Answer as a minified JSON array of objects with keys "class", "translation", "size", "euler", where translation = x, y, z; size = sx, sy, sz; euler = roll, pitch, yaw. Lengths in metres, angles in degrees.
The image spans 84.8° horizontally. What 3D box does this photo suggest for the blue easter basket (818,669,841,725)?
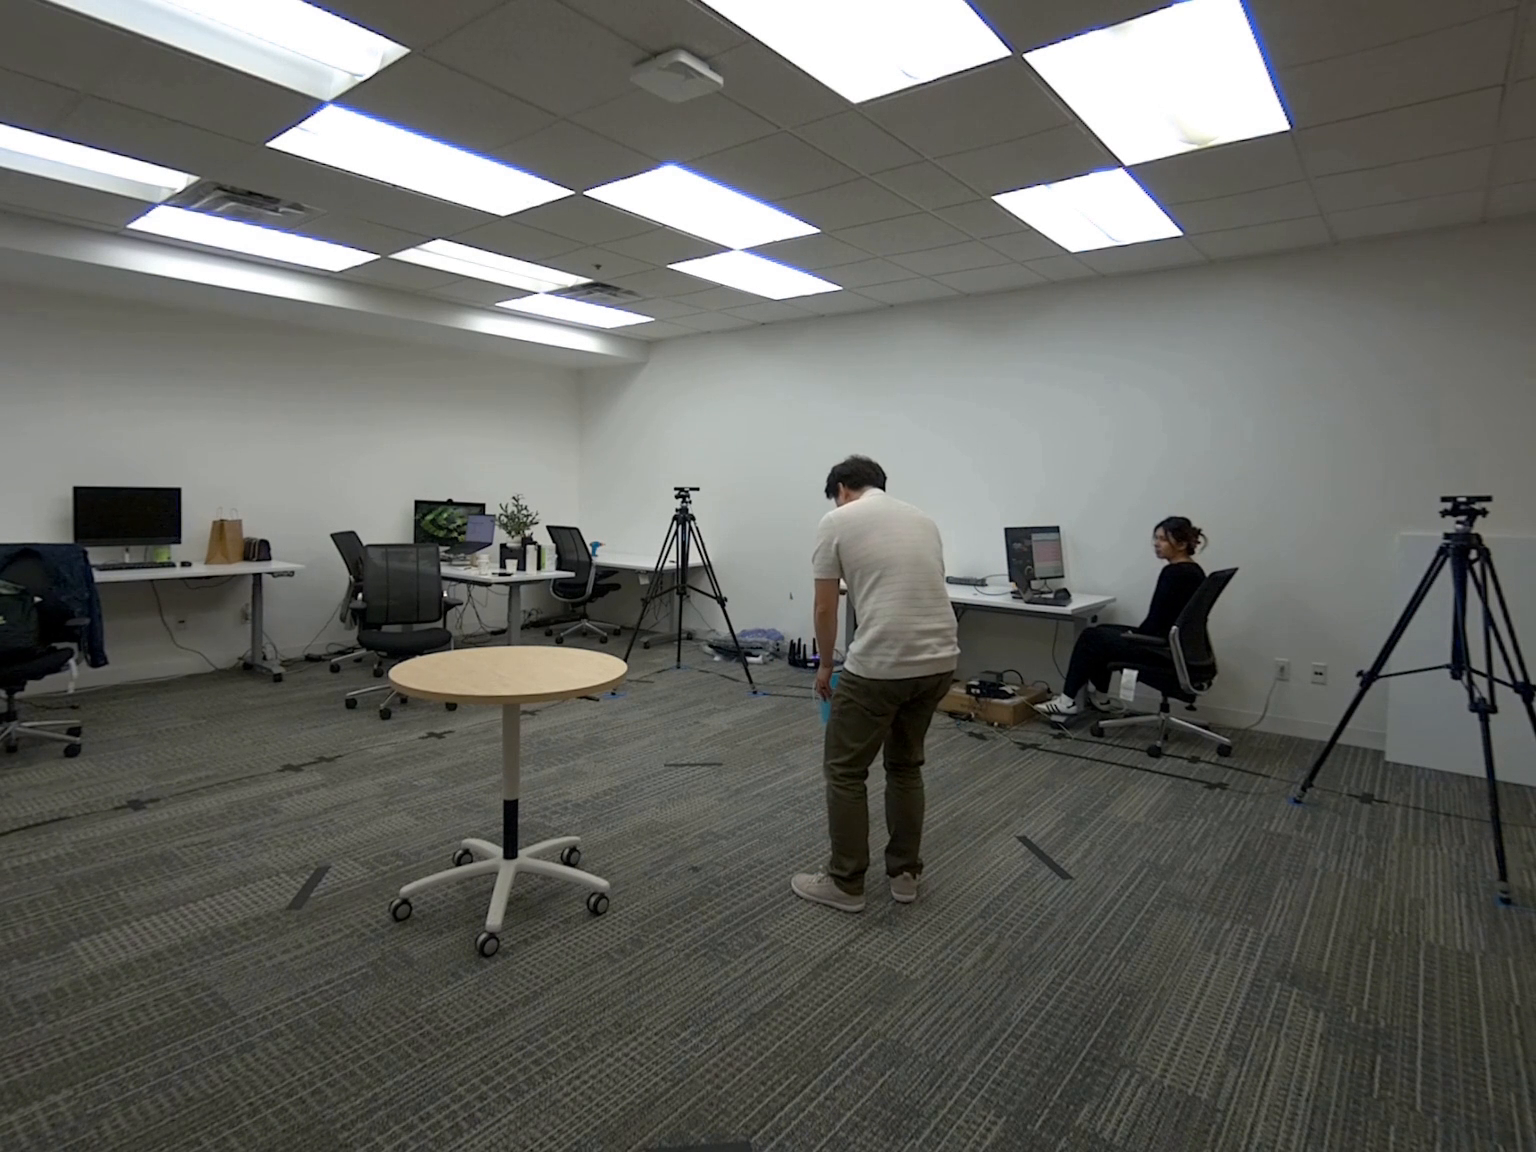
[{"class":"blue easter basket","translation":[0.288,0.468,3.154],"size":[0.243,0.155,0.245],"euler":[3,8,-2]}]
